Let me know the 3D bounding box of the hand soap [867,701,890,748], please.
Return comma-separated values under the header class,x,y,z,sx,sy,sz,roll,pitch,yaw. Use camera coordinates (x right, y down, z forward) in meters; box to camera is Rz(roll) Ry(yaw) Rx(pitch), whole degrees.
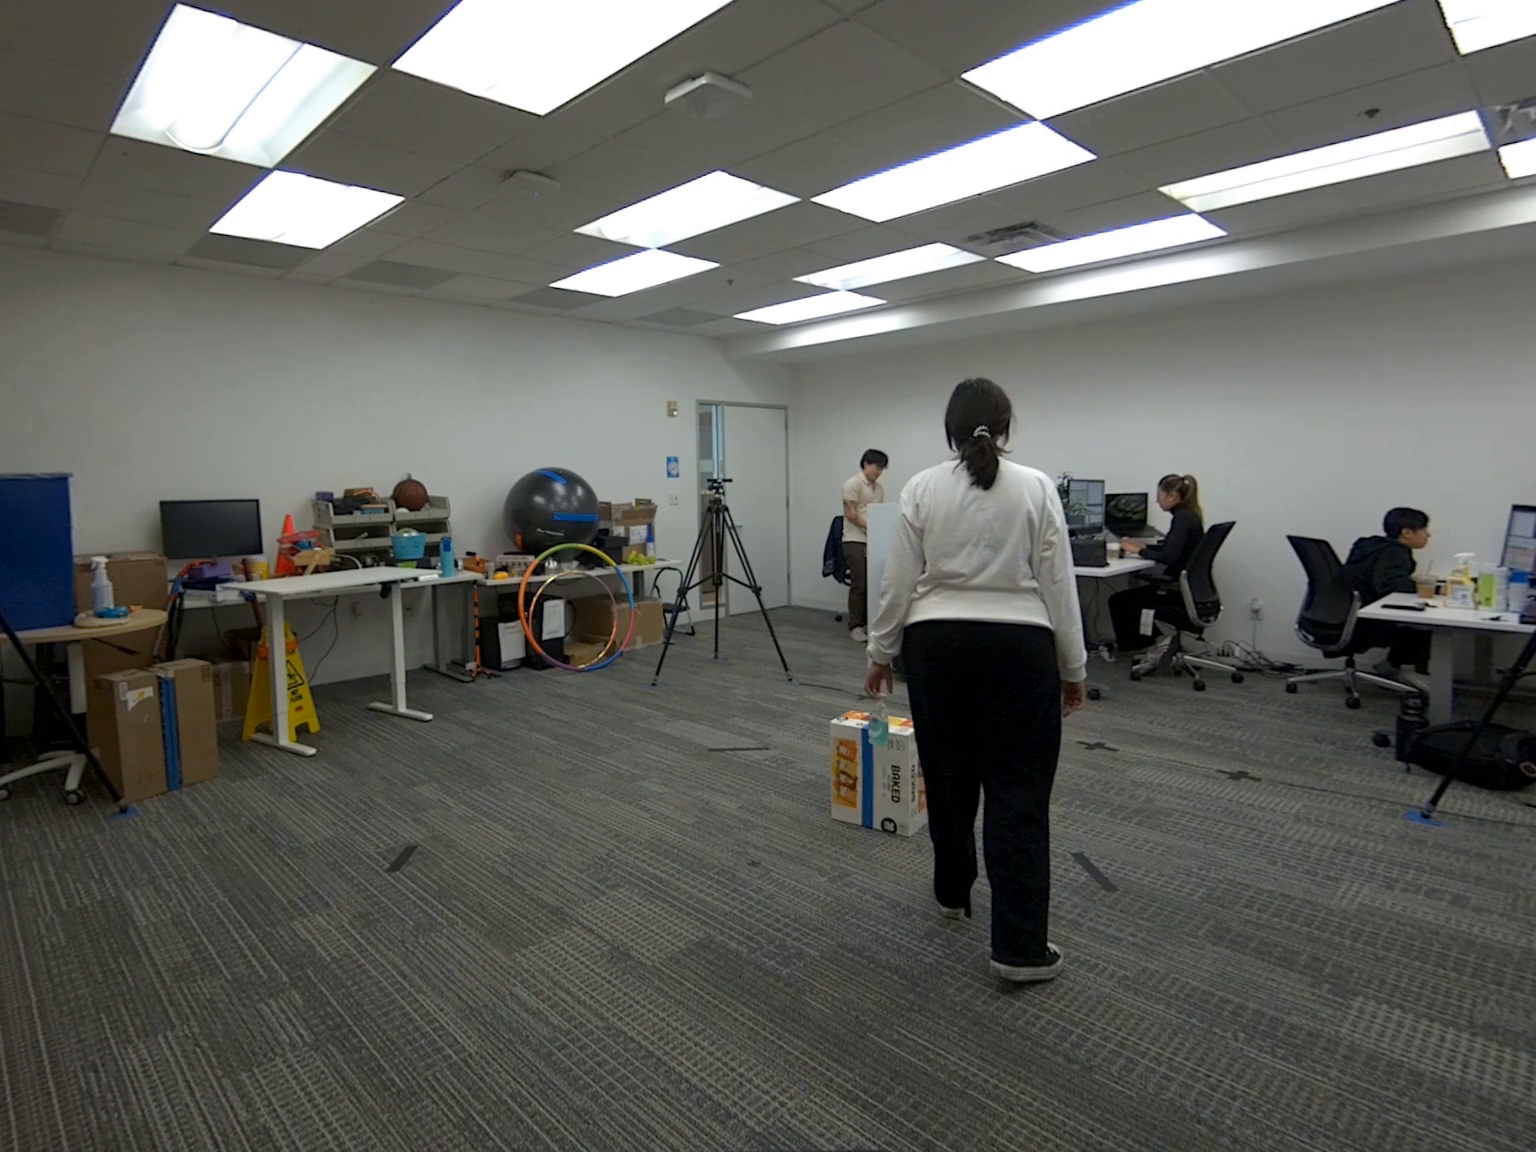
class,x,y,z,sx,sy,sz,roll,pitch,yaw
hand soap,0.359,0.456,2.724,0.042,0.168,0.087,4,1,-38
